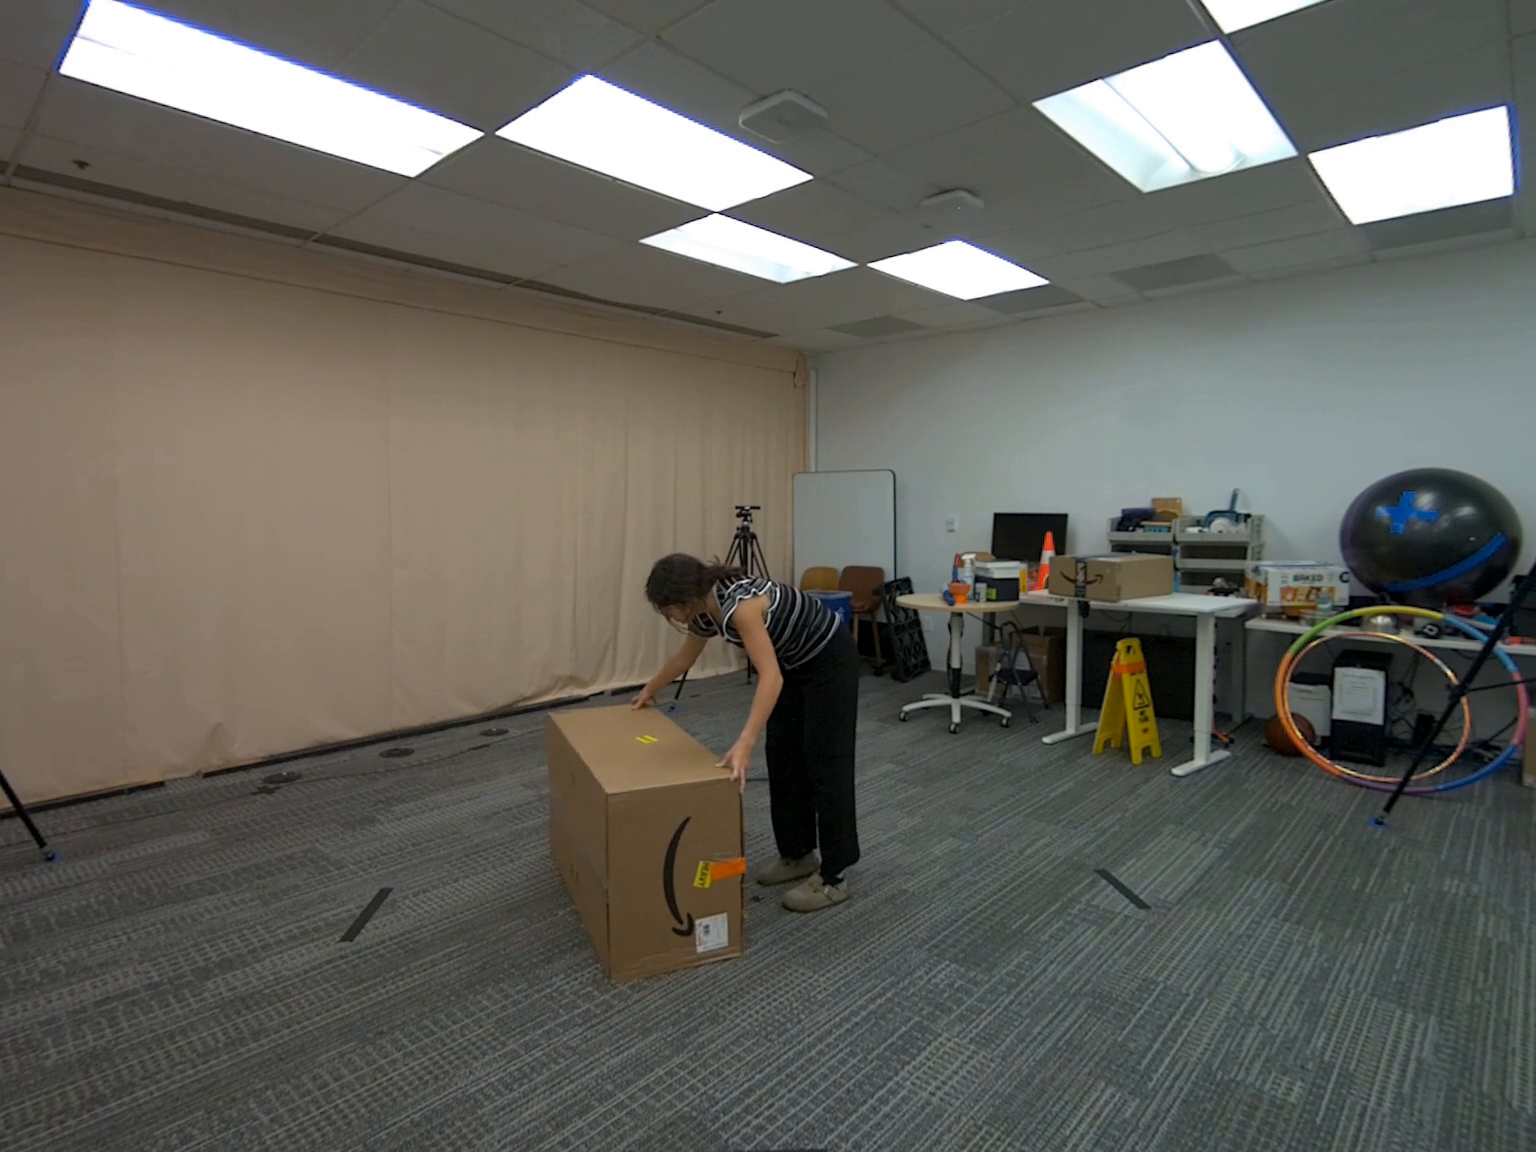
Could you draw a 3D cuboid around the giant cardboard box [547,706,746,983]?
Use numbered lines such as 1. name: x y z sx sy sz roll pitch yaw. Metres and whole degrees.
1. giant cardboard box: -0.481 0.855 2.982 0.417 0.576 1.051 -1 4 -24
